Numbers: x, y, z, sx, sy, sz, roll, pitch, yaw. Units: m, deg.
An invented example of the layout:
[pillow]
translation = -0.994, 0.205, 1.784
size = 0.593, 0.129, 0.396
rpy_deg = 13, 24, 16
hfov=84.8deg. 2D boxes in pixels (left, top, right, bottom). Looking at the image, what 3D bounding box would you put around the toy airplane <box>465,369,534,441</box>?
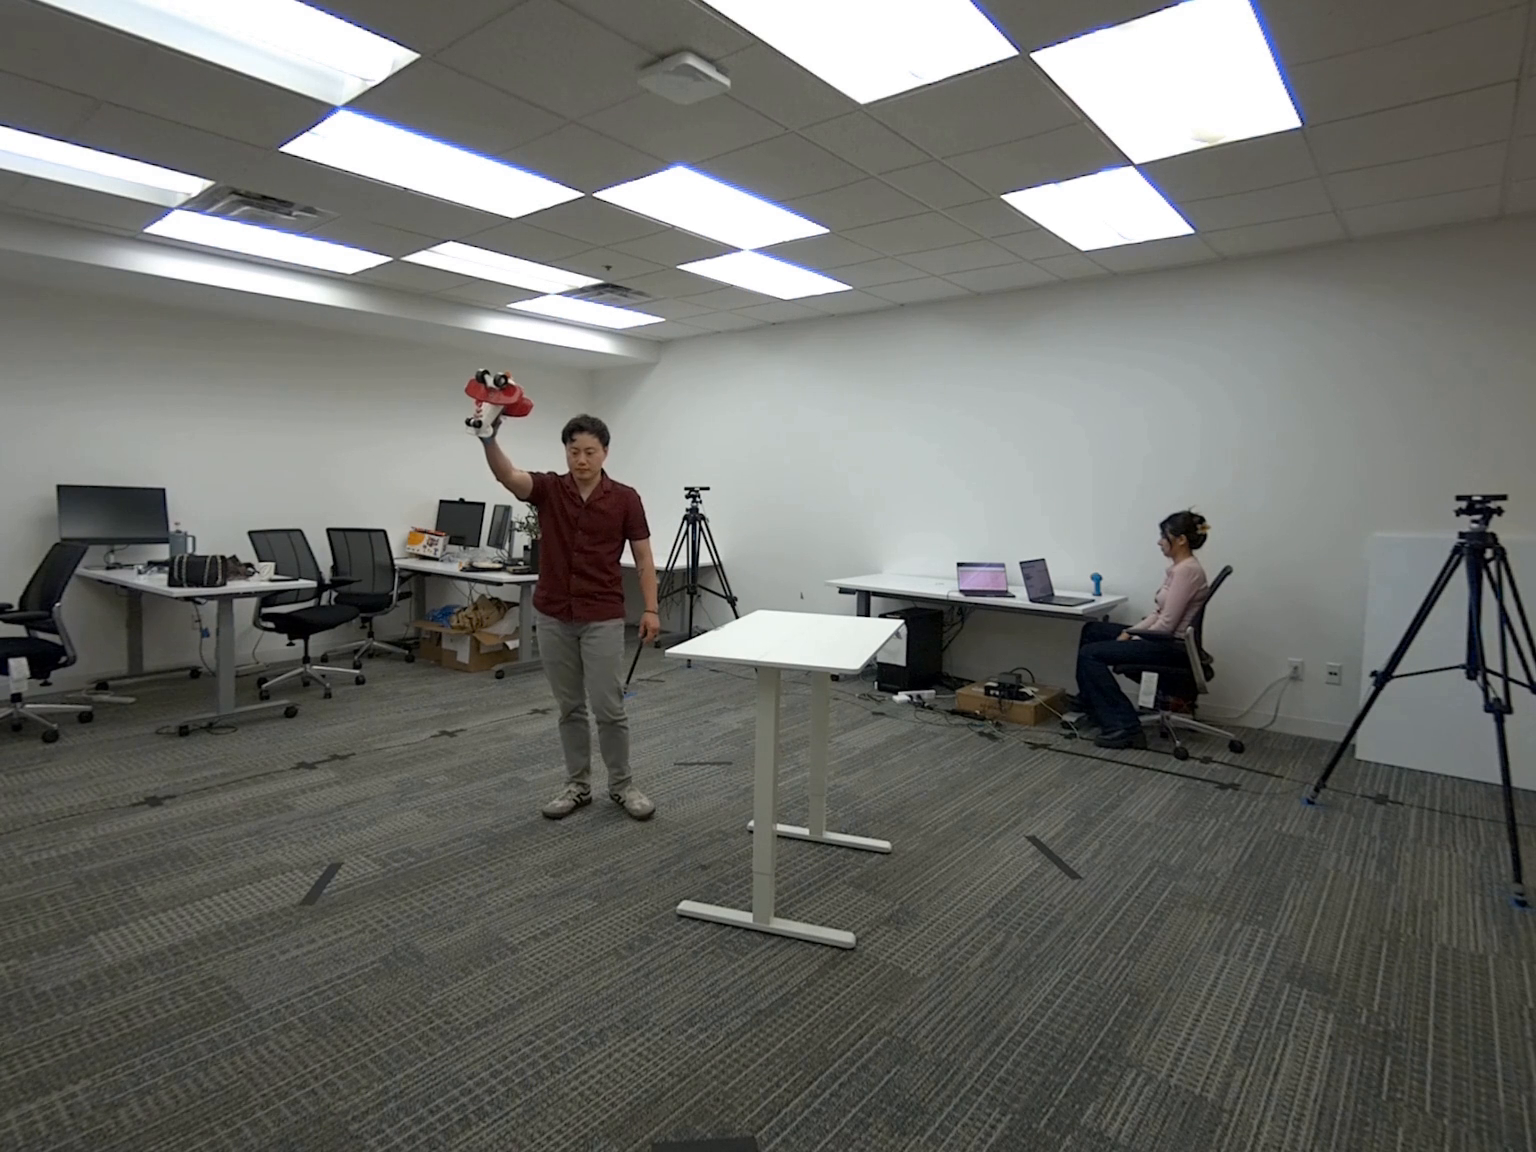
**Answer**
[toy airplane]
translation = -1.038, -0.640, 3.127
size = 0.259, 0.259, 0.152
rpy_deg = 46, 6, 21
